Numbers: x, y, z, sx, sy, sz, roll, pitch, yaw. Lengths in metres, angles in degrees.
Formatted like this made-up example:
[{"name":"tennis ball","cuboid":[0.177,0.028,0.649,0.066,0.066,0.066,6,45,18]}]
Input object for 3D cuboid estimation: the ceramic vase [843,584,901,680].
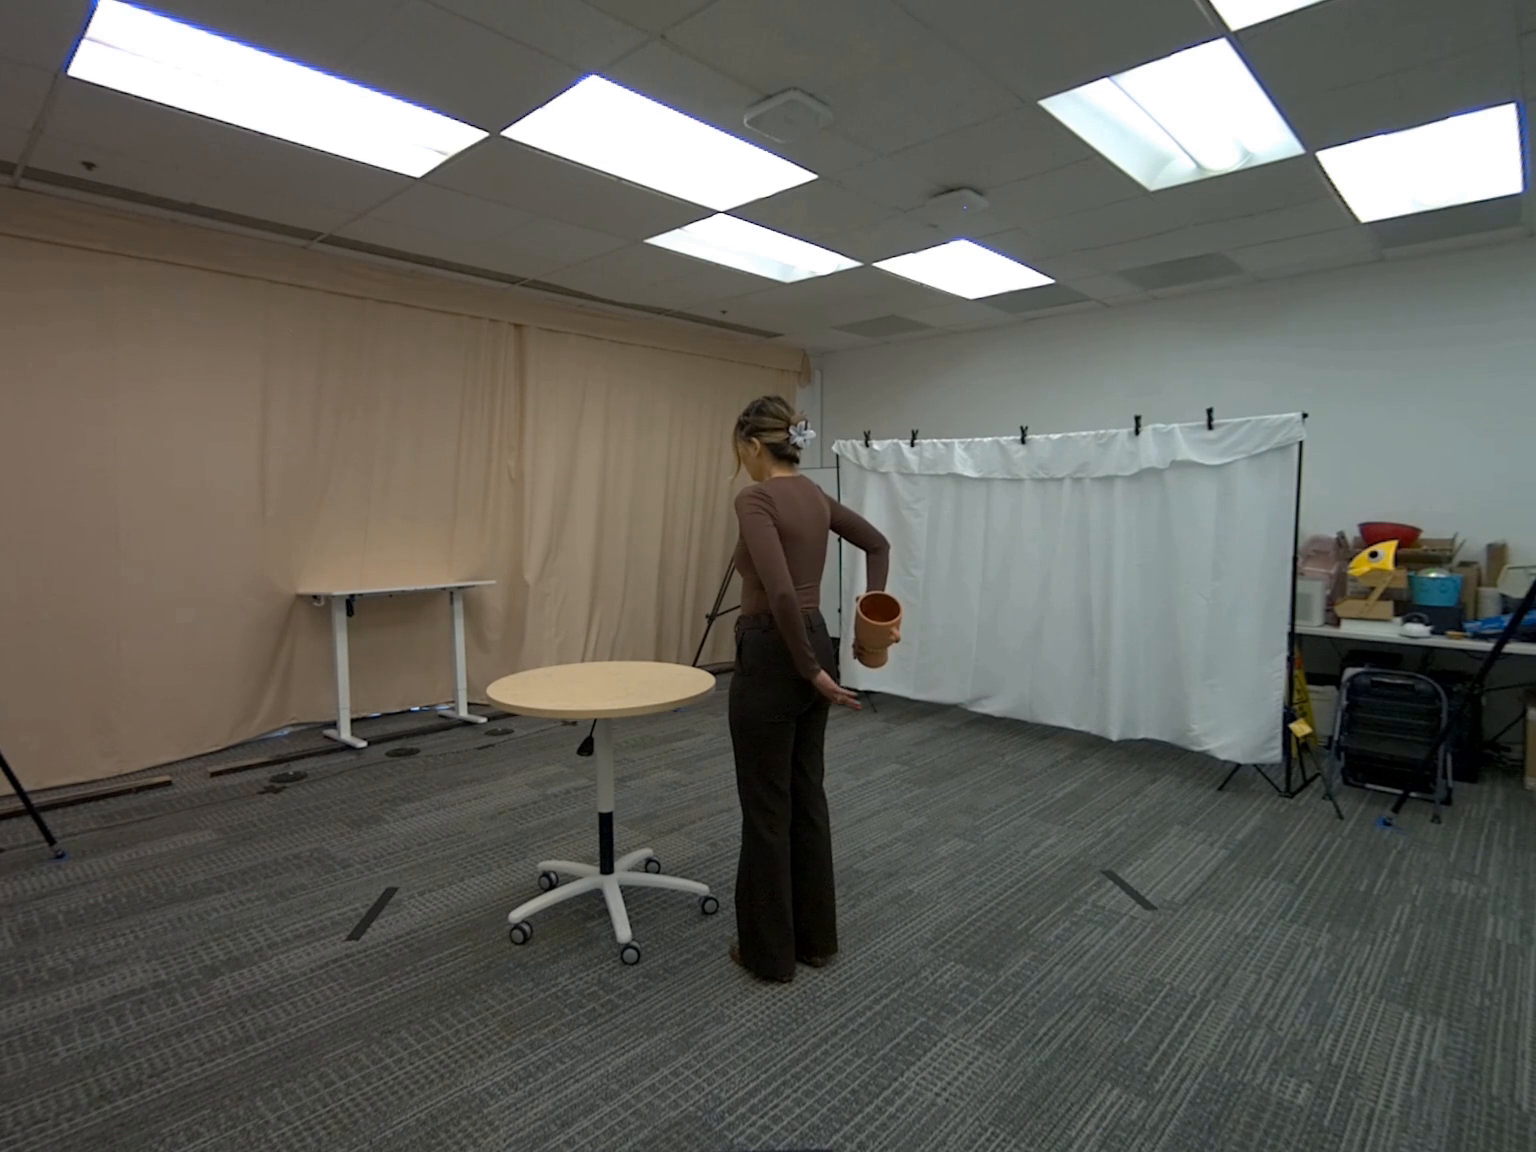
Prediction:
[{"name":"ceramic vase","cuboid":[0.306,0.164,2.506,0.136,0.215,0.160,7,44,8]}]
